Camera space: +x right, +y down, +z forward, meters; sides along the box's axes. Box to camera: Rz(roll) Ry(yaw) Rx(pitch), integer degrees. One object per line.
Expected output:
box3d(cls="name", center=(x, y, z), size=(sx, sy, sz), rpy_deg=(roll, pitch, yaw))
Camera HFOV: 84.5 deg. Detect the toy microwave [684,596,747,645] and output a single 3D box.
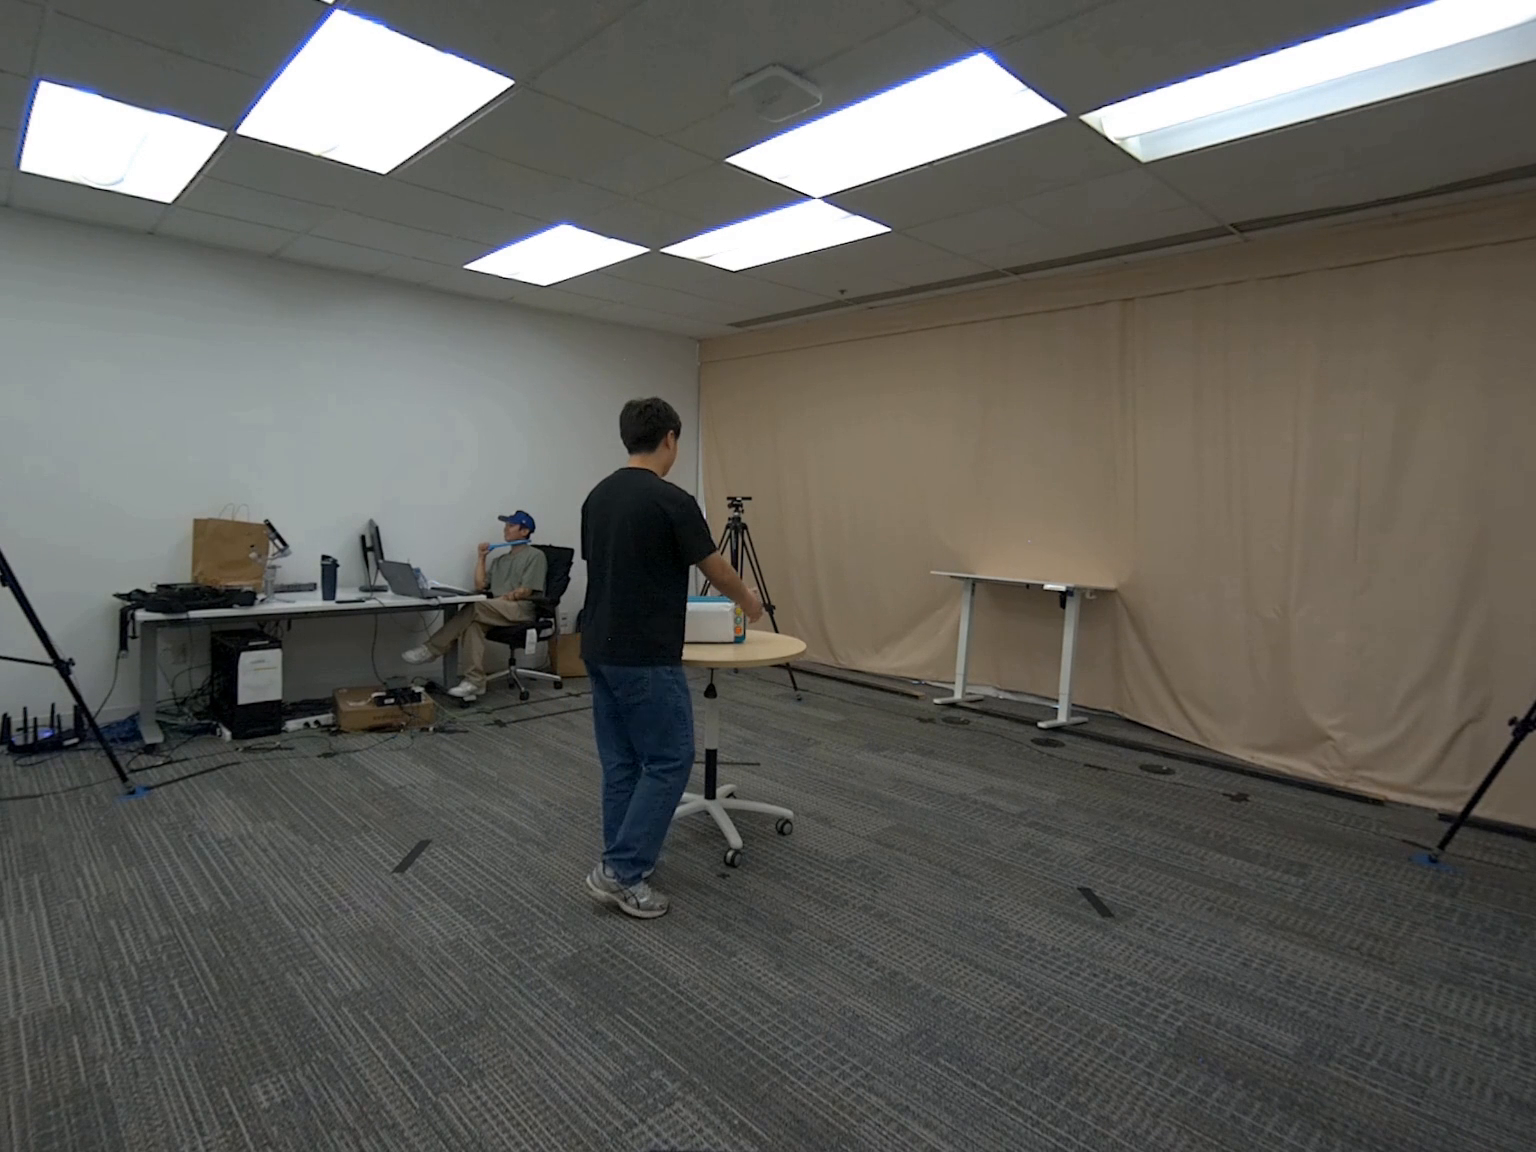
box3d(cls="toy microwave", center=(-0.236, 0.183, 3.496), size=(0.285, 0.183, 0.153), rpy_deg=(1, 5, -4))
